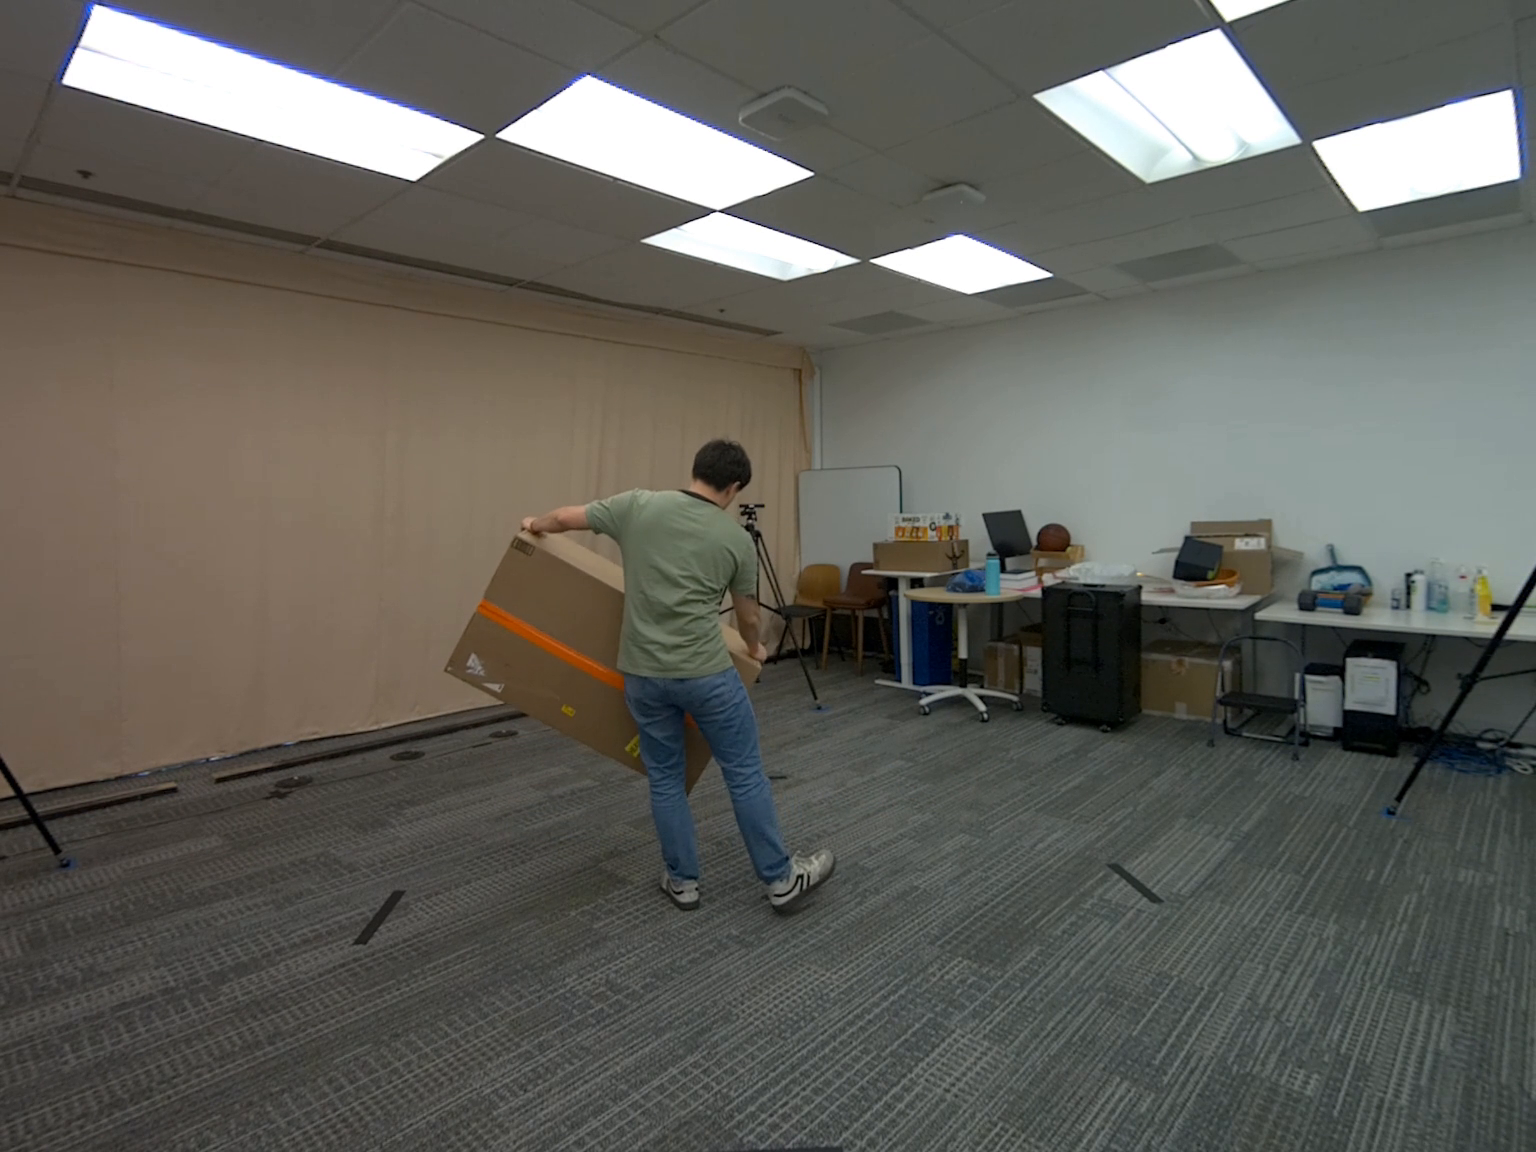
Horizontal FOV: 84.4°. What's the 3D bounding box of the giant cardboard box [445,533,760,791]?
[{"bbox_3d":[-0.615,0.310,3.287,1.018,0.577,0.429,29,6,-6],"label":"giant cardboard box"}]
